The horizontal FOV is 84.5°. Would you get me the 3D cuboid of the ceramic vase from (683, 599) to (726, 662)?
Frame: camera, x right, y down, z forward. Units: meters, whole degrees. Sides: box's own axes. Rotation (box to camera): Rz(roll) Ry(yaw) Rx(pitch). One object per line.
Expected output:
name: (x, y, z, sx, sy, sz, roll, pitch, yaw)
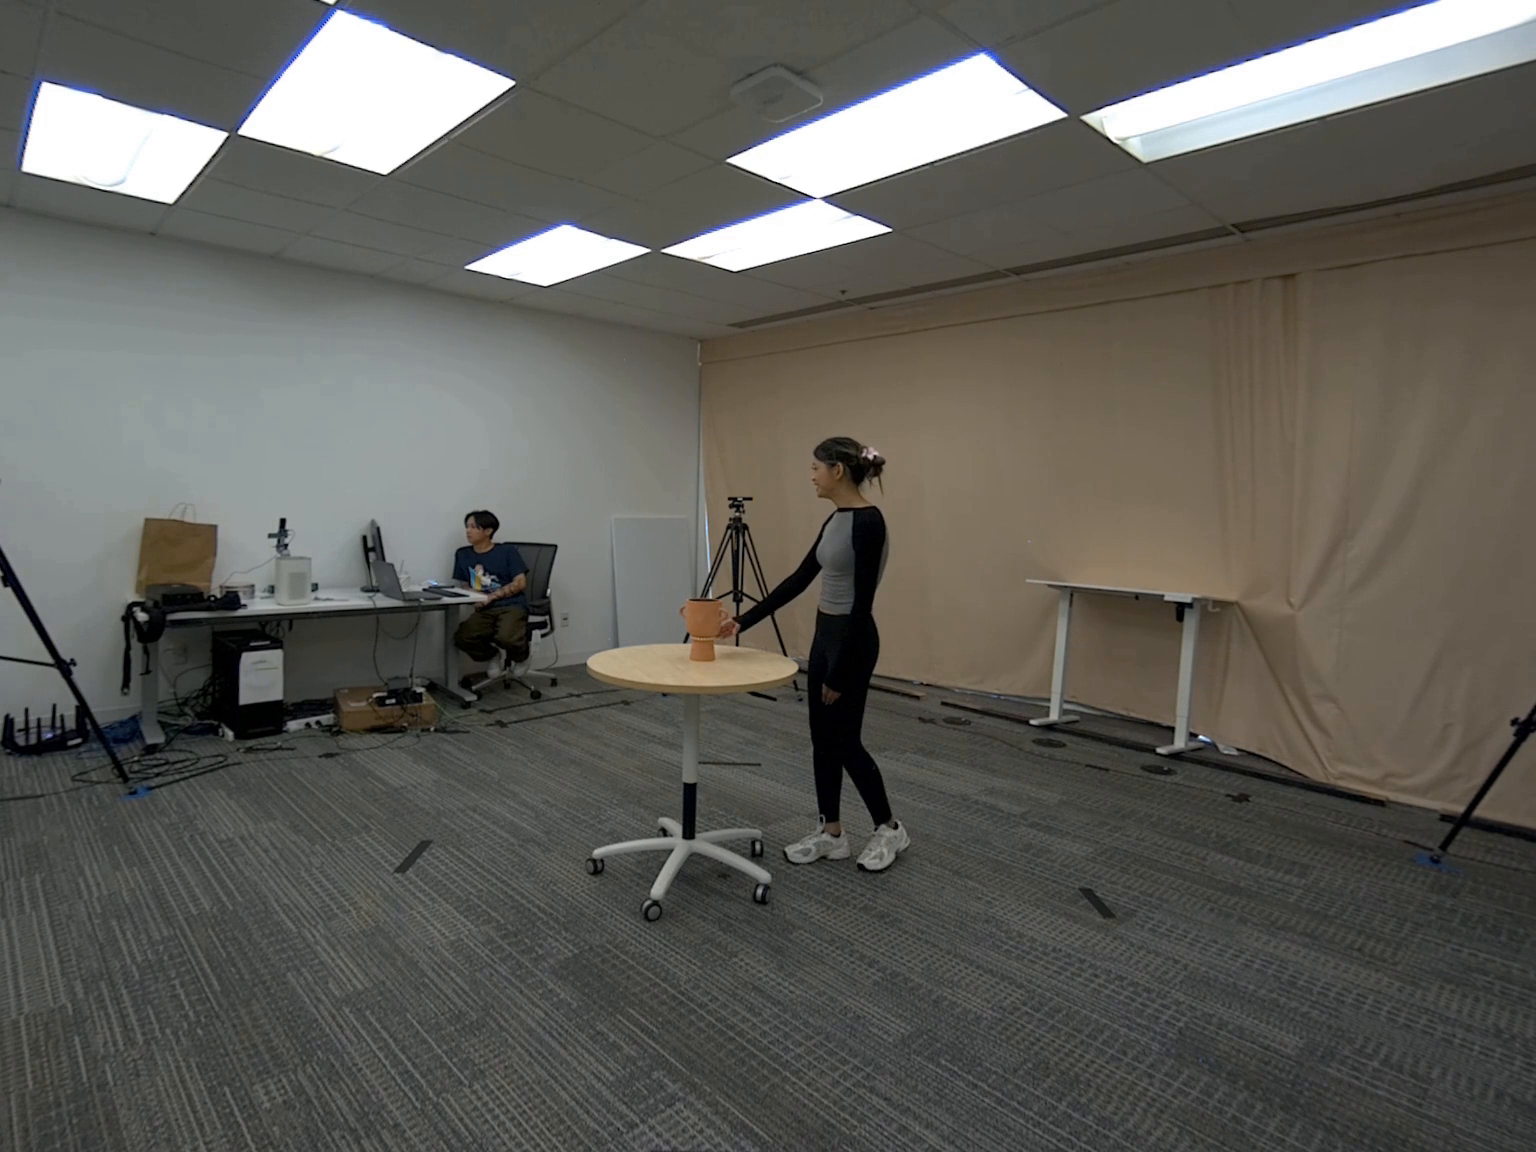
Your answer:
ceramic vase: (-0.244, 0.199, 3.132, 0.132, 0.219, 0.162, 0, 3, -29)
